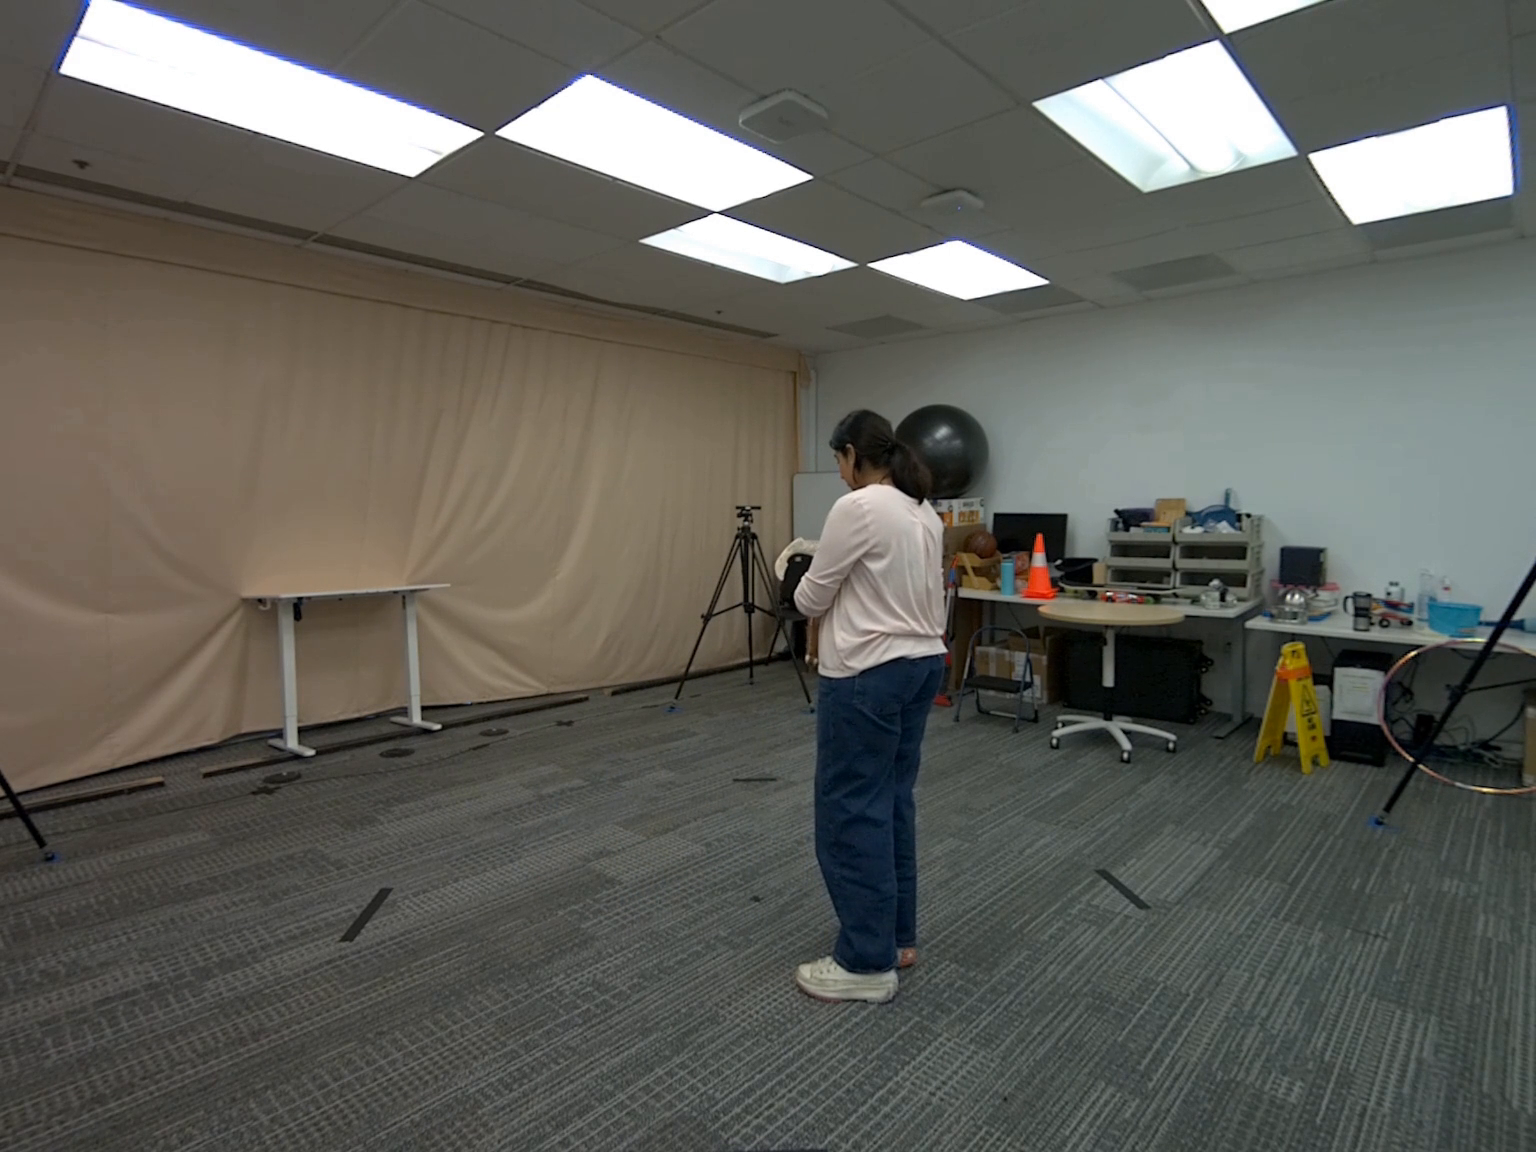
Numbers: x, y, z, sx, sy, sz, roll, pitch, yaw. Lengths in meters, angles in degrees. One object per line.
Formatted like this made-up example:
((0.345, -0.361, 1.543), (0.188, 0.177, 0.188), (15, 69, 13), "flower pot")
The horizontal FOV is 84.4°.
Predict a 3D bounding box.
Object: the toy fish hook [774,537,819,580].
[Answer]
((0.138, 0.077, 2.792), (0.226, 0.513, 0.047), (5, -39, 5), "toy fish hook")
